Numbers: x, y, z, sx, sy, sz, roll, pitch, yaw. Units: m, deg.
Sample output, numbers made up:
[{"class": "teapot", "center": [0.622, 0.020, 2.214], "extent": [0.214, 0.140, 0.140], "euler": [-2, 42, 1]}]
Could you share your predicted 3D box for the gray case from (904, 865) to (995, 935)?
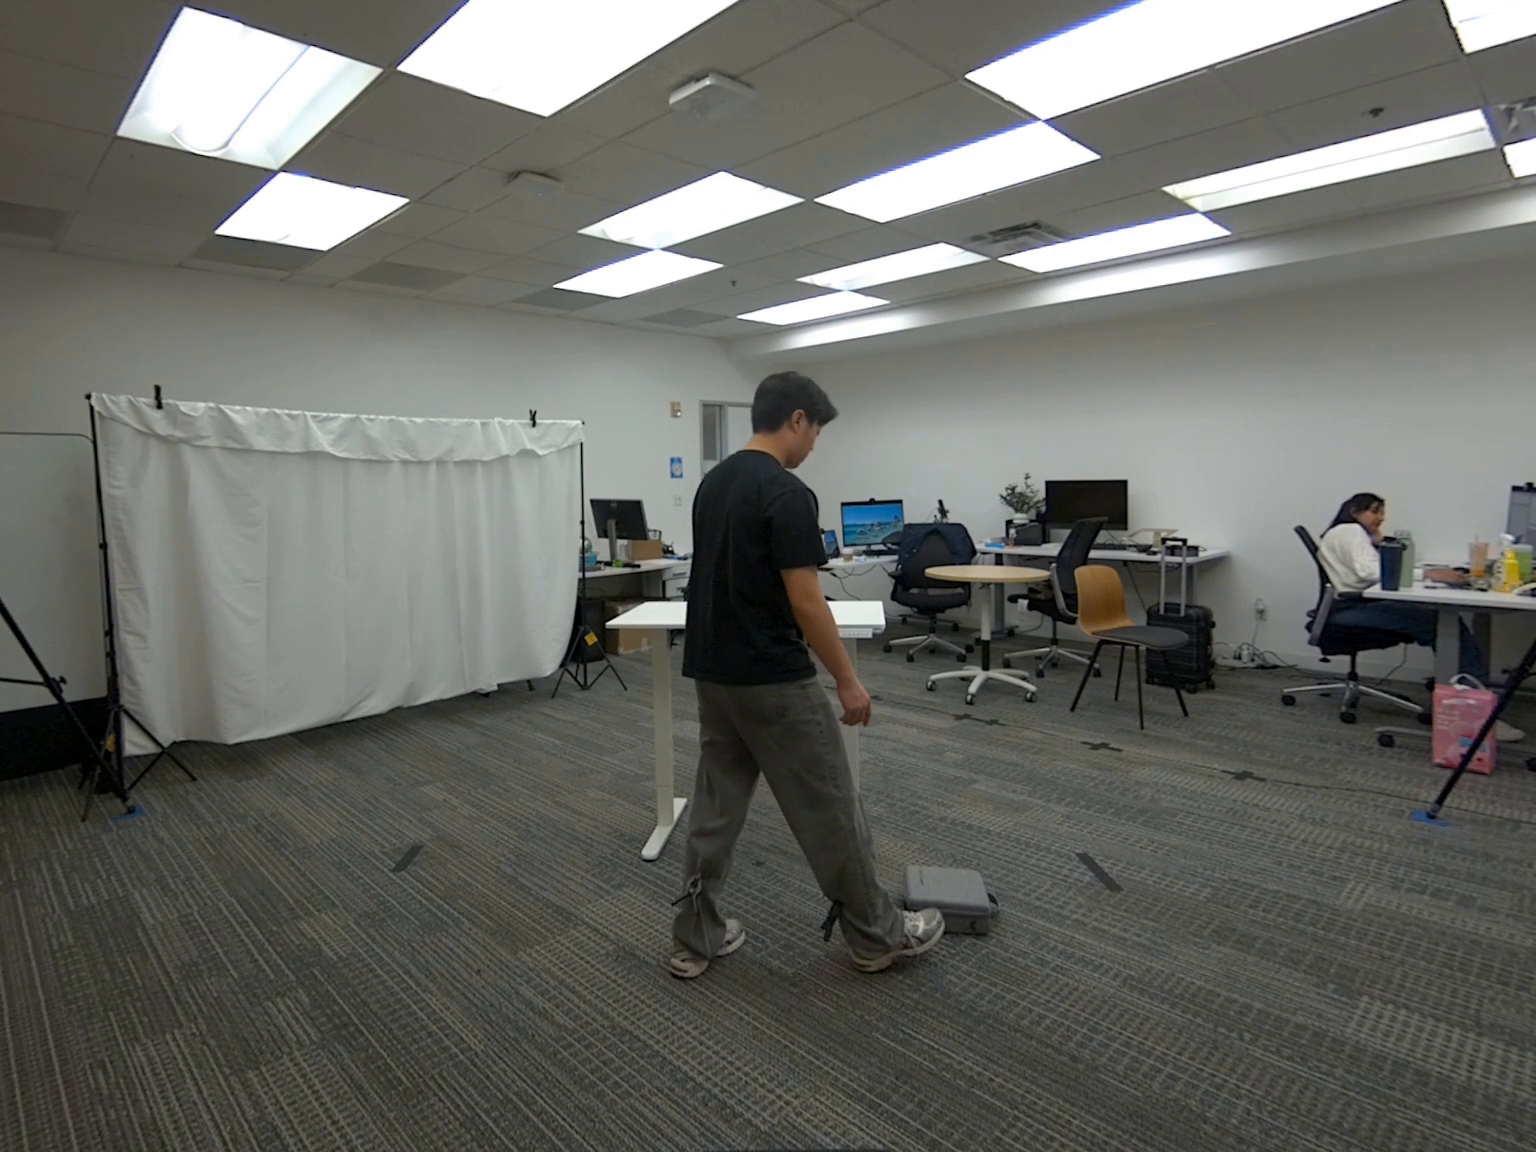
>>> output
[{"class": "gray case", "center": [0.582, 1.023, 2.718], "extent": [0.290, 0.103, 0.262], "euler": [0, 5, 9]}]
